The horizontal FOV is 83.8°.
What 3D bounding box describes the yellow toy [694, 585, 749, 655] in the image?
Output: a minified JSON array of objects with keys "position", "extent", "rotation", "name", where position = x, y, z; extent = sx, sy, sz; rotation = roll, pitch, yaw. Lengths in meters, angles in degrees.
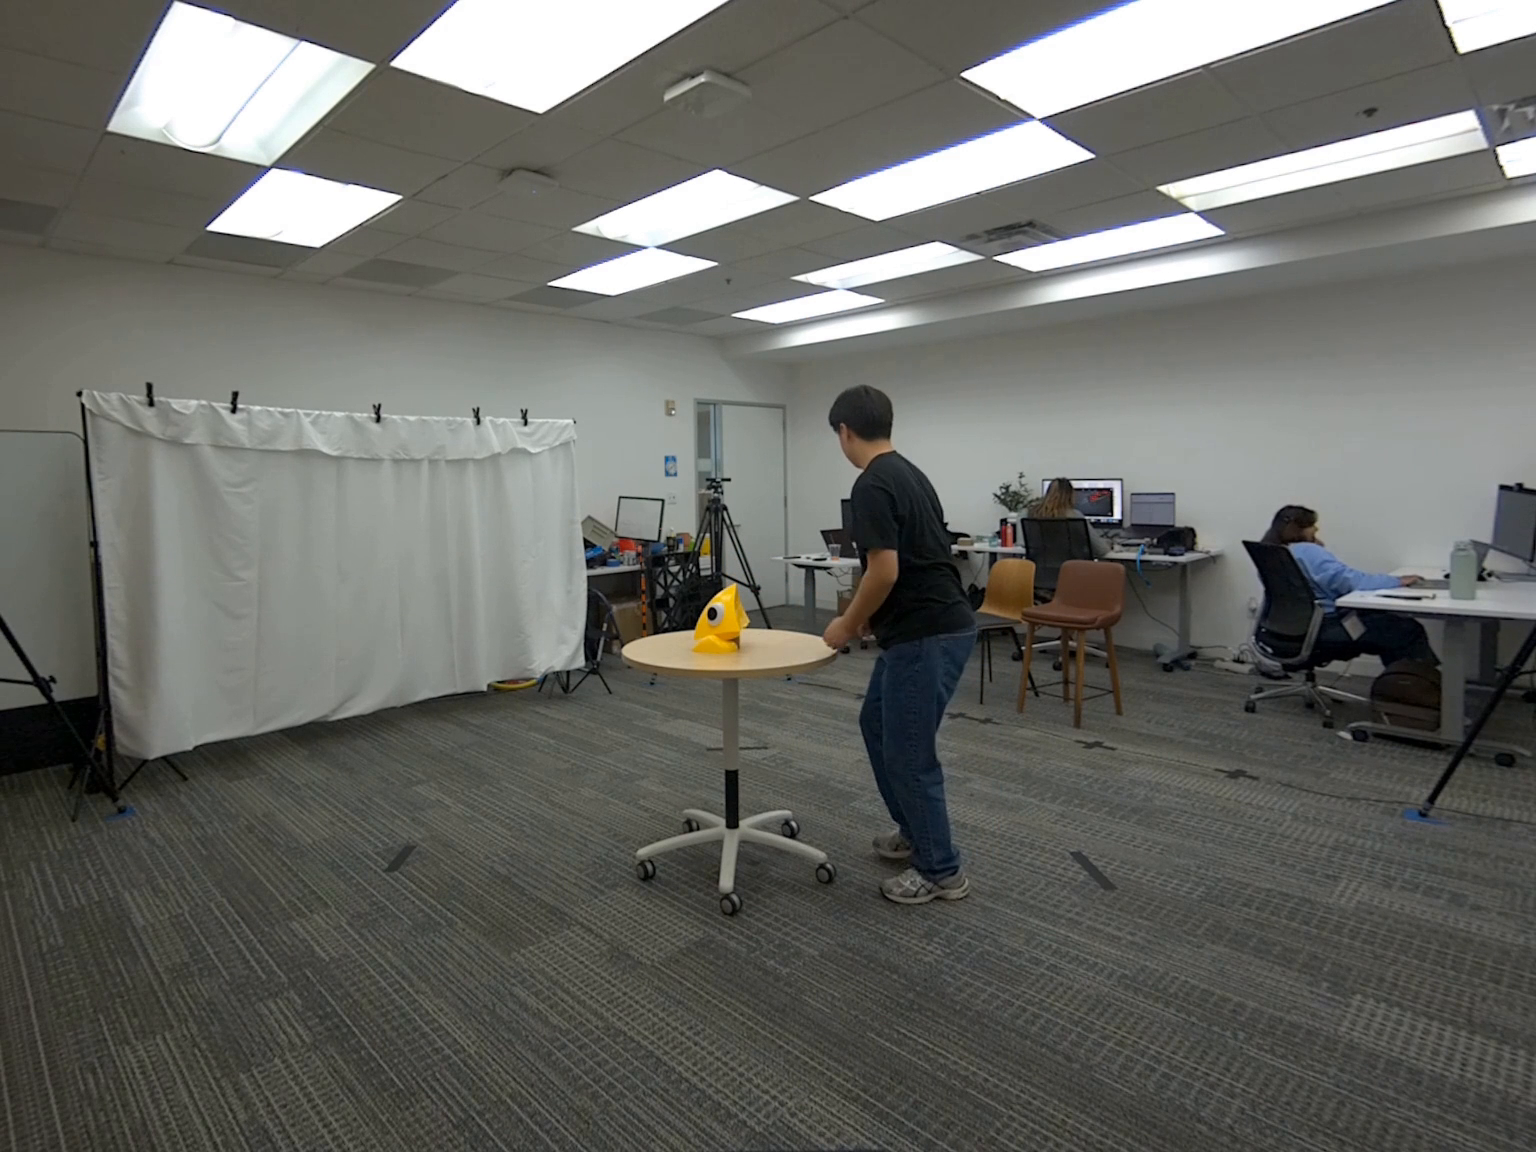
[{"position":[-0.165,0.138,3.027],"extent":[0.195,0.230,0.203],"rotation":[-1,4,9],"name":"yellow toy"}]
